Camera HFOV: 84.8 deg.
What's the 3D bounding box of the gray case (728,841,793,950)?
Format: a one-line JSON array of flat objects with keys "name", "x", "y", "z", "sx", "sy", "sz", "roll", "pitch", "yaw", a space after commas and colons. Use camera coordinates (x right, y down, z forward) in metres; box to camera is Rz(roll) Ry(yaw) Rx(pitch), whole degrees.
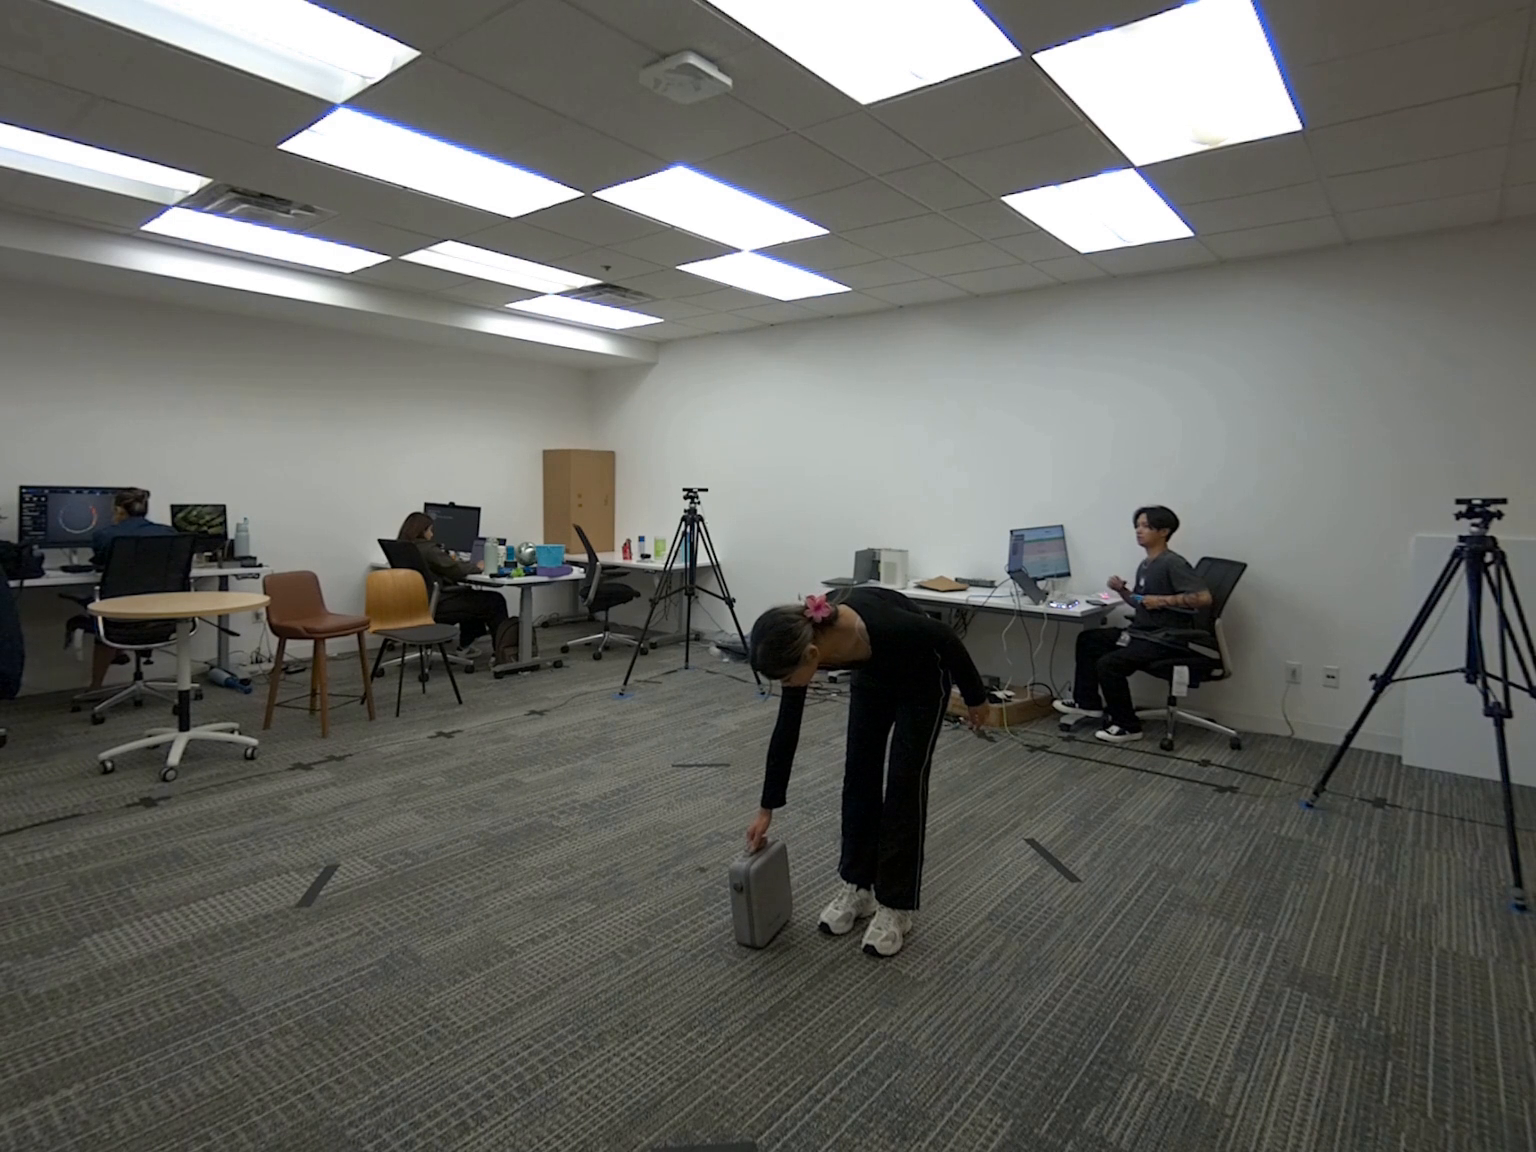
[{"name": "gray case", "x": -0.029, "y": 0.984, "z": 2.680, "sx": 0.107, "sy": 0.261, "sz": 0.251, "roll": -6, "pitch": 0, "yaw": 26}]
